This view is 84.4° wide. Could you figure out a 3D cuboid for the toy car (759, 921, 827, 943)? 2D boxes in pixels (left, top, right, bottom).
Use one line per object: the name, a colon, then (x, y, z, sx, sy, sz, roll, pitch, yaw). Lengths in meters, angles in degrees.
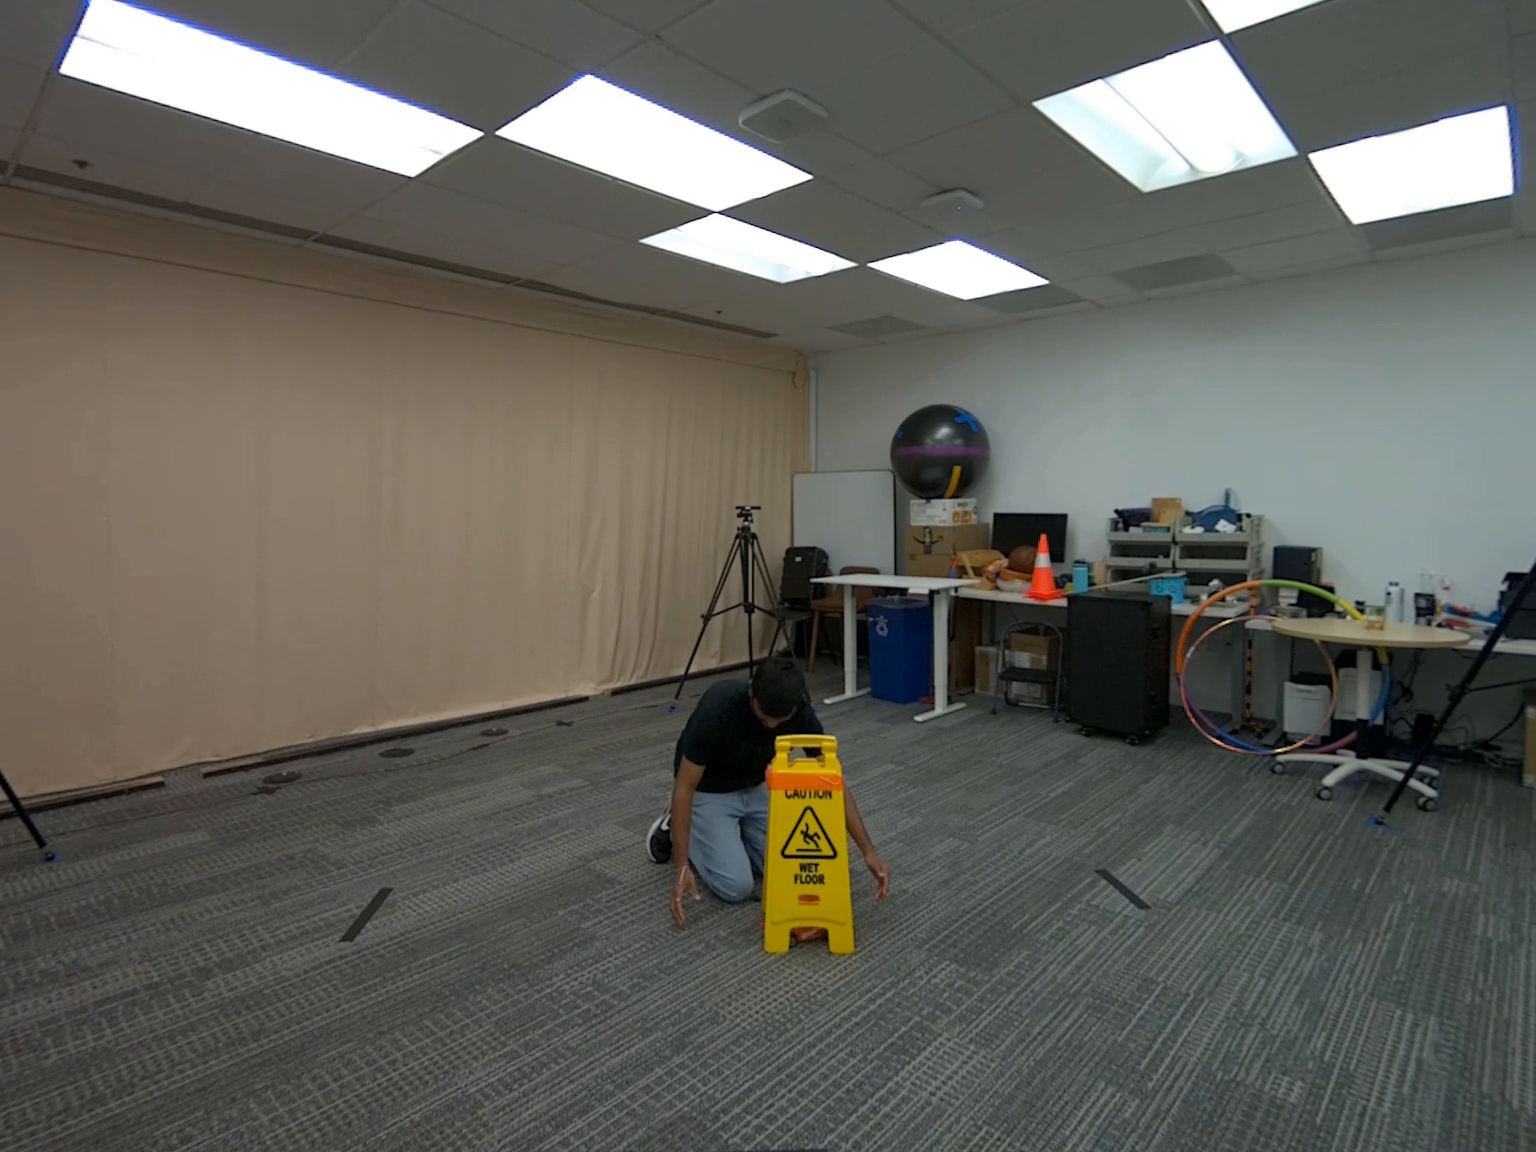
toy car: (0.119, 1.133, 2.717, 0.248, 0.083, 0.134, 9, 2, -24)
